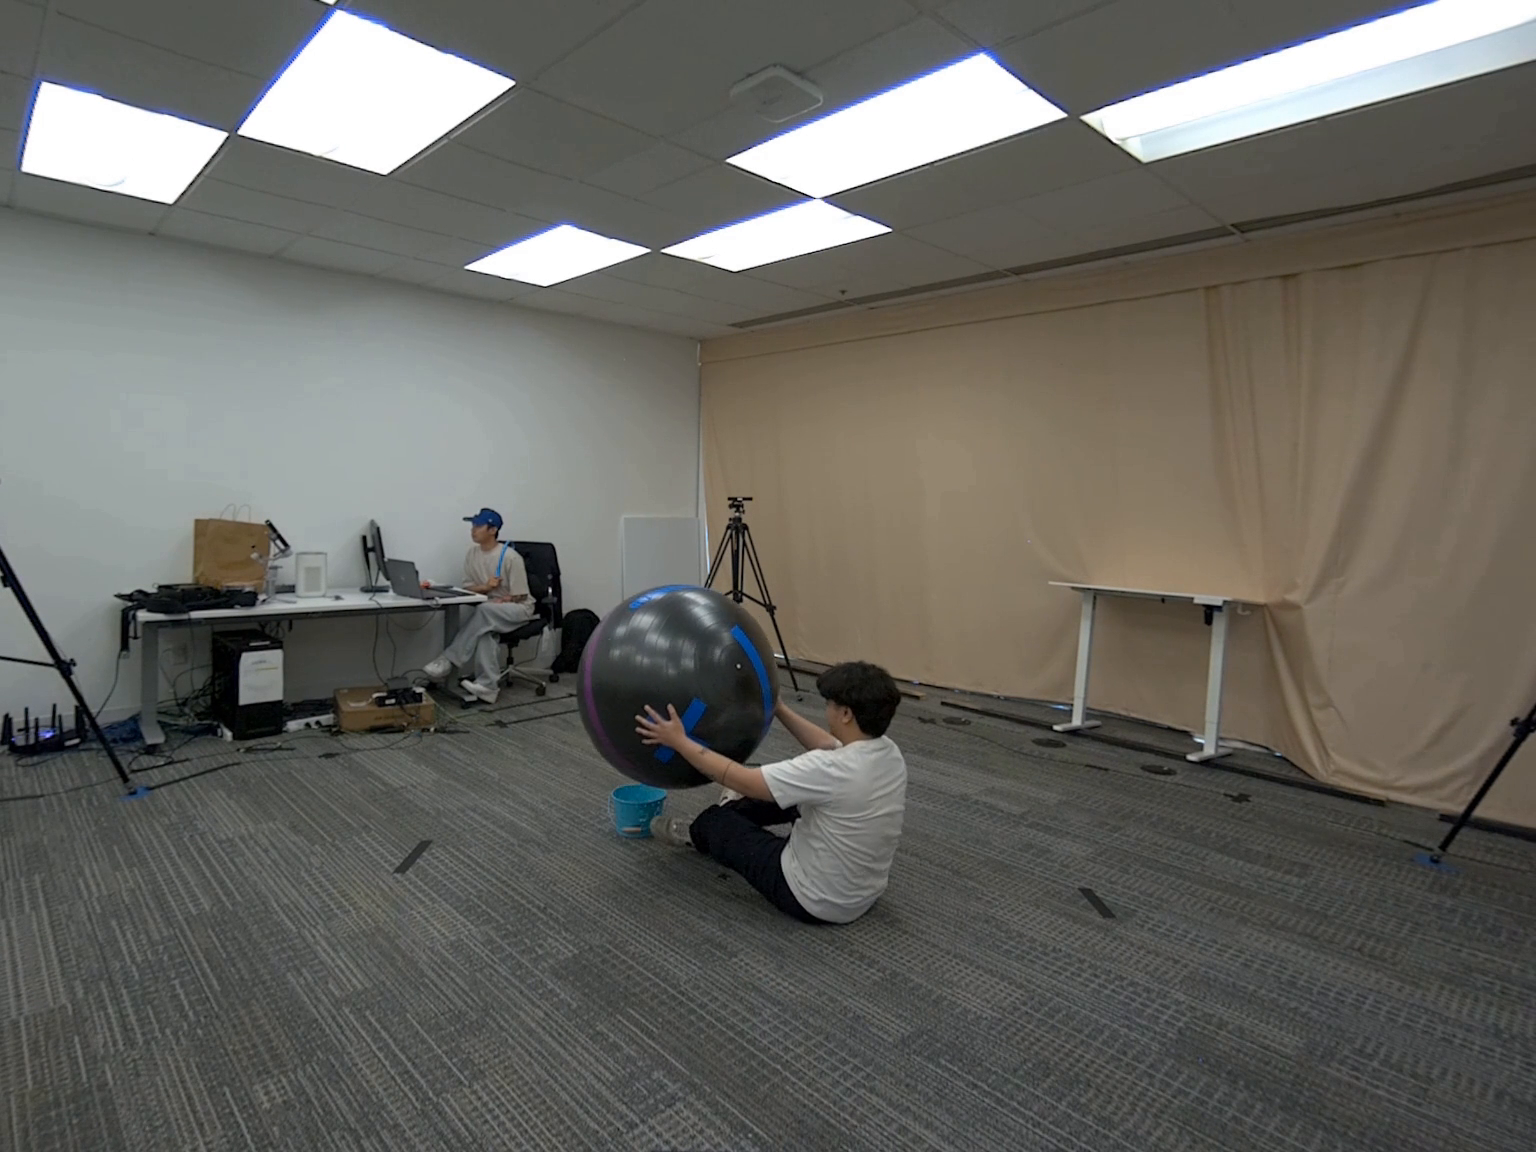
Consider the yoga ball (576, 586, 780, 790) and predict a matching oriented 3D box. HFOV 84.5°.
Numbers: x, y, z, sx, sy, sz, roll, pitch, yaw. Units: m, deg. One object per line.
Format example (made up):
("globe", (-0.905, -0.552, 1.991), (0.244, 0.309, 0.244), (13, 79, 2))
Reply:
("yoga ball", (-0.348, 0.416, 3.175), (0.757, 0.756, 0.760), (1, 4, -1))
